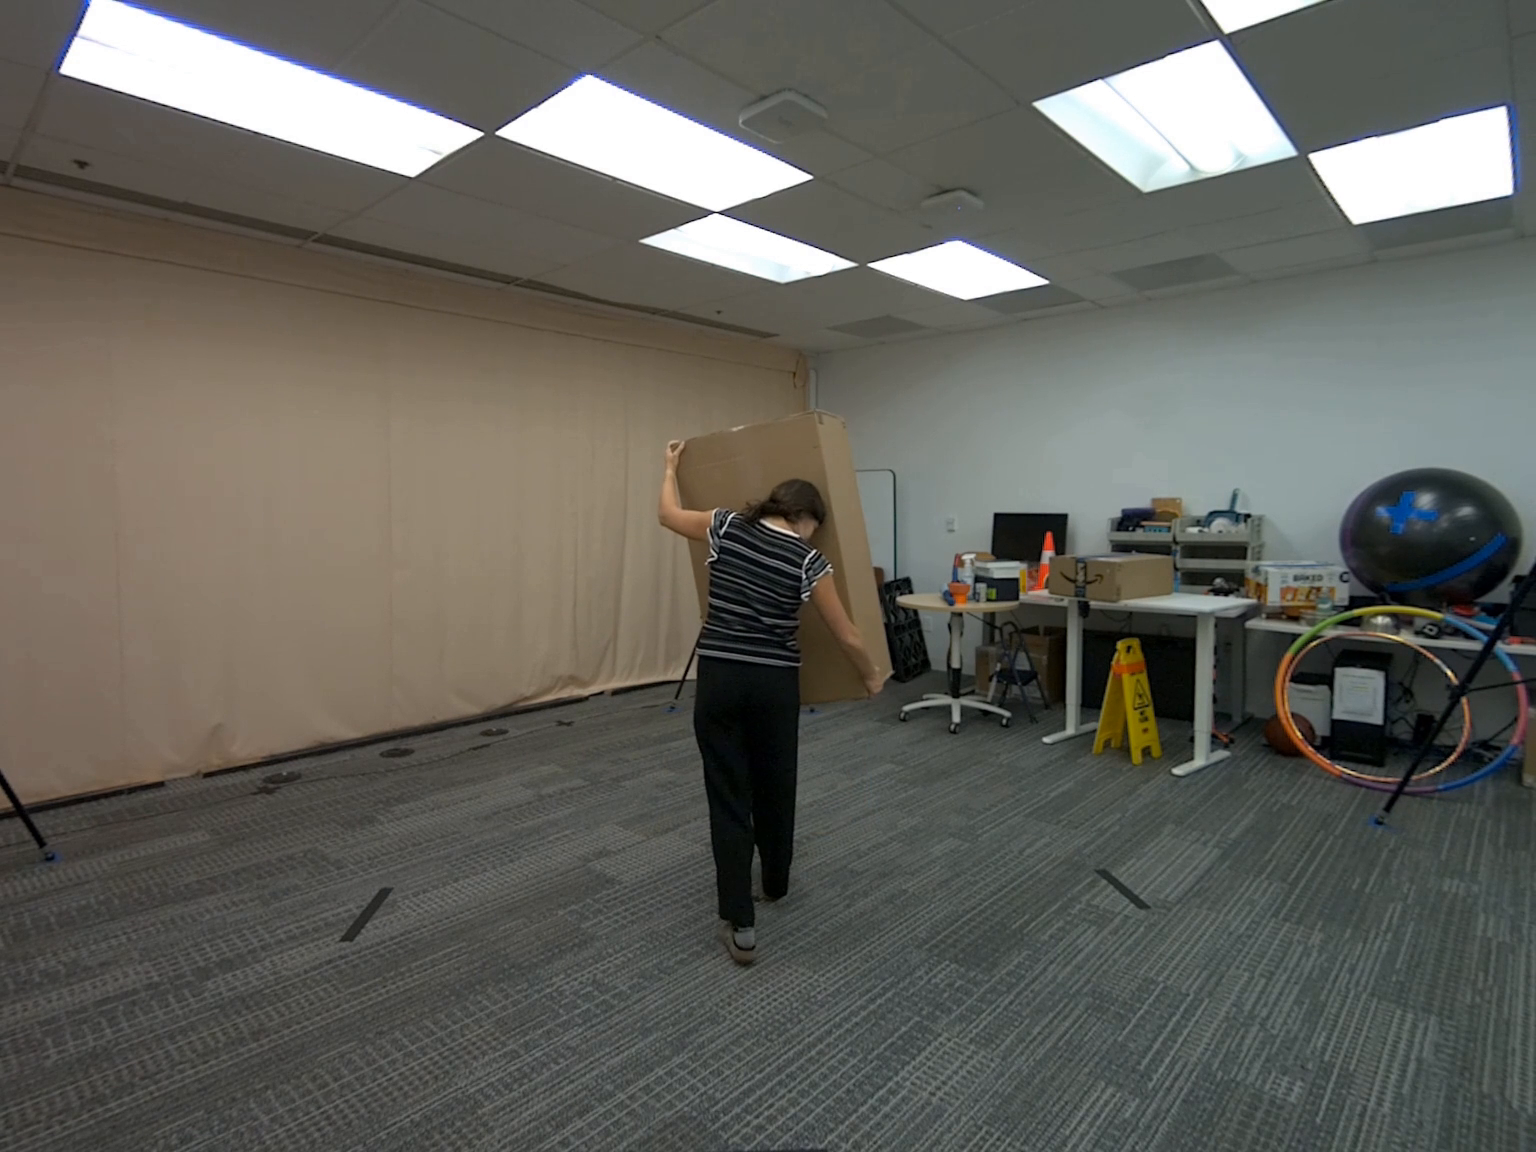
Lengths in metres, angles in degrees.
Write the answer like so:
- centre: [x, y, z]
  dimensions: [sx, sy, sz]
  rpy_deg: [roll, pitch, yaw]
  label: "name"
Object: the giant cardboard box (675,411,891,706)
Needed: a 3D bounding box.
- centre: [0.063, -0.050, 3.210]
  dimensions: [0.589, 1.026, 0.417]
  rpy_deg: [-10, -1, 22]
  label: "giant cardboard box"
